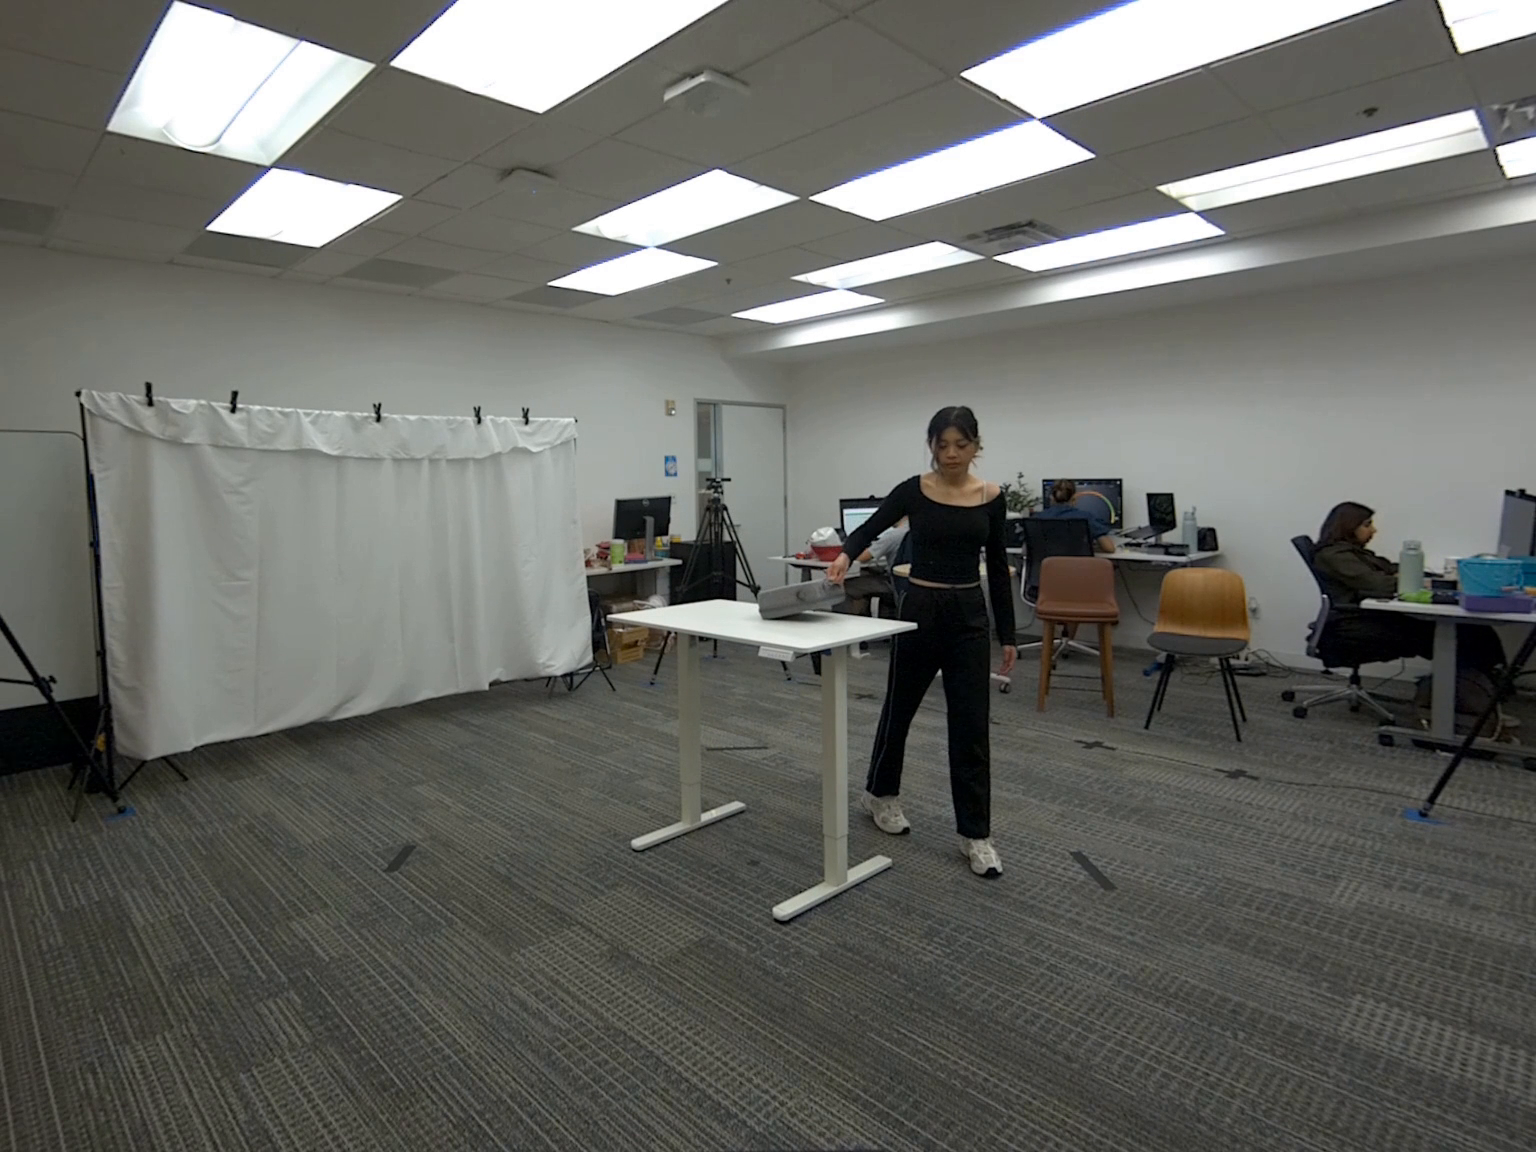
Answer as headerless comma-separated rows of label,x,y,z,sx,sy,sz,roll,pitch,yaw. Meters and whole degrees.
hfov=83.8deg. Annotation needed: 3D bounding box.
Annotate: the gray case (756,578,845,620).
gray case,0.124,0.076,3.139,0.266,0.104,0.251,-11,-1,31
